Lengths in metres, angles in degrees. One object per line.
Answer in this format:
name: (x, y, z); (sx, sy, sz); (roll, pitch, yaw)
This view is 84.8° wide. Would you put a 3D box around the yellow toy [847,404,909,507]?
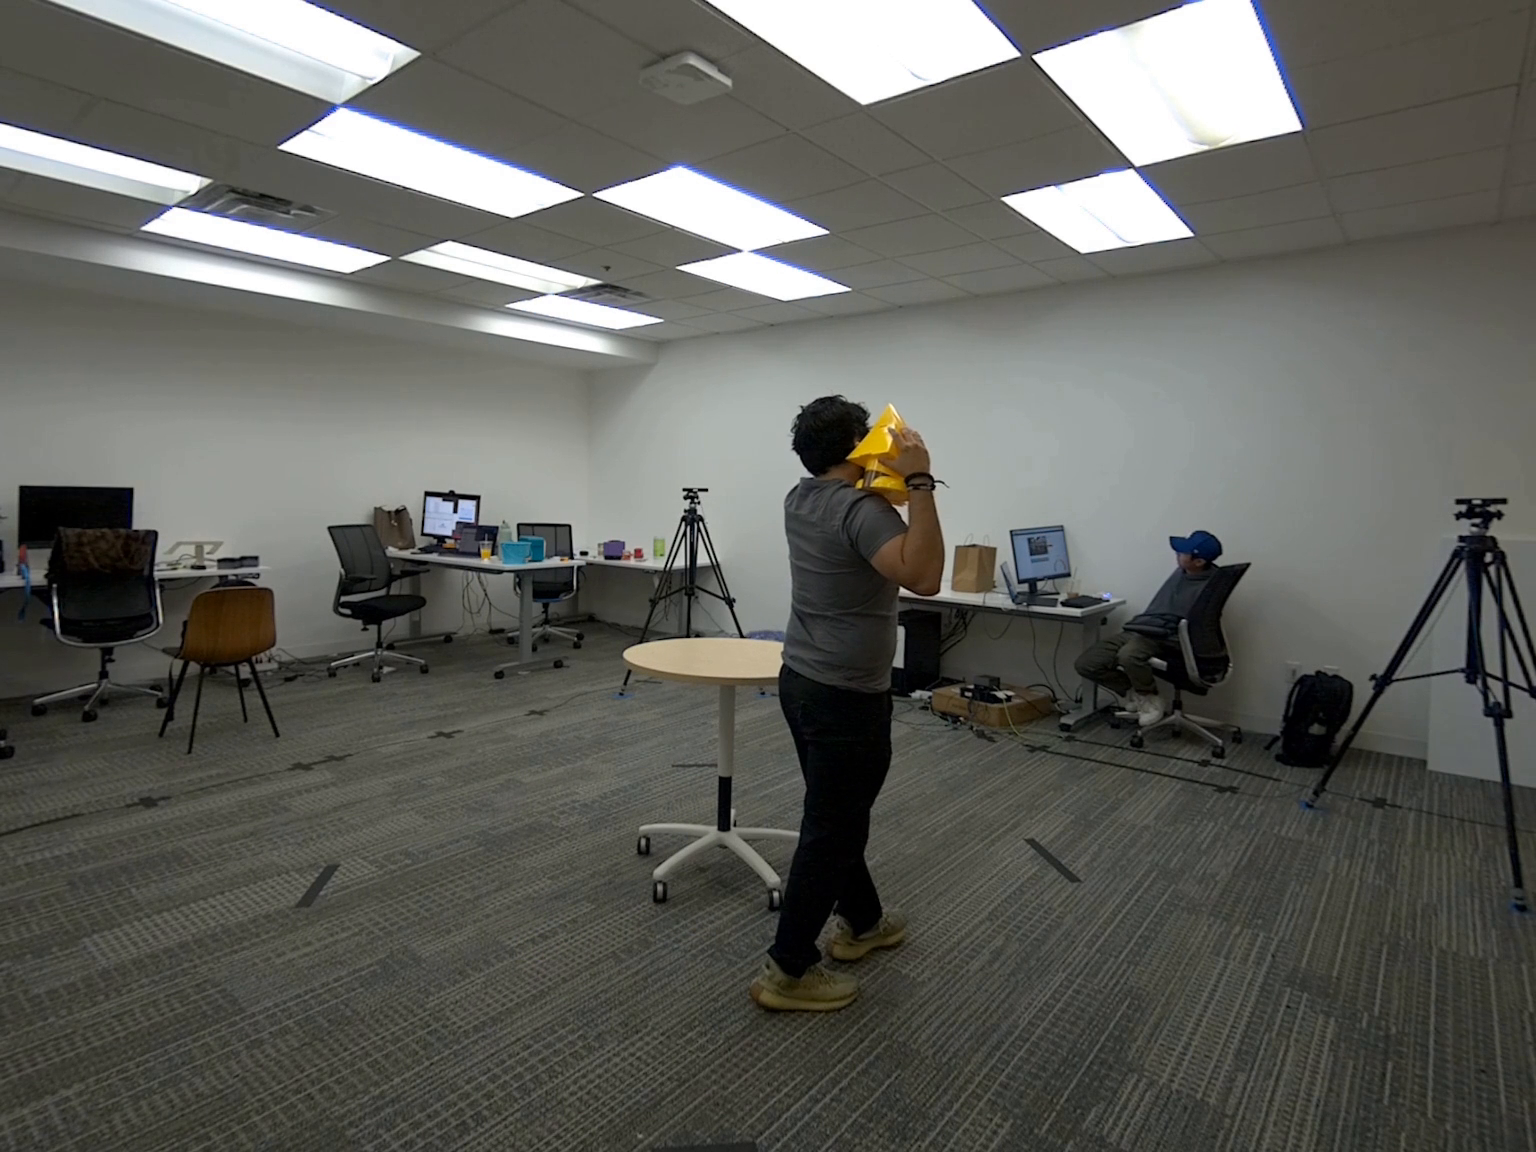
yellow toy: (0.335, -0.324, 2.211); (0.188, 0.232, 0.209); (18, -7, -22)
